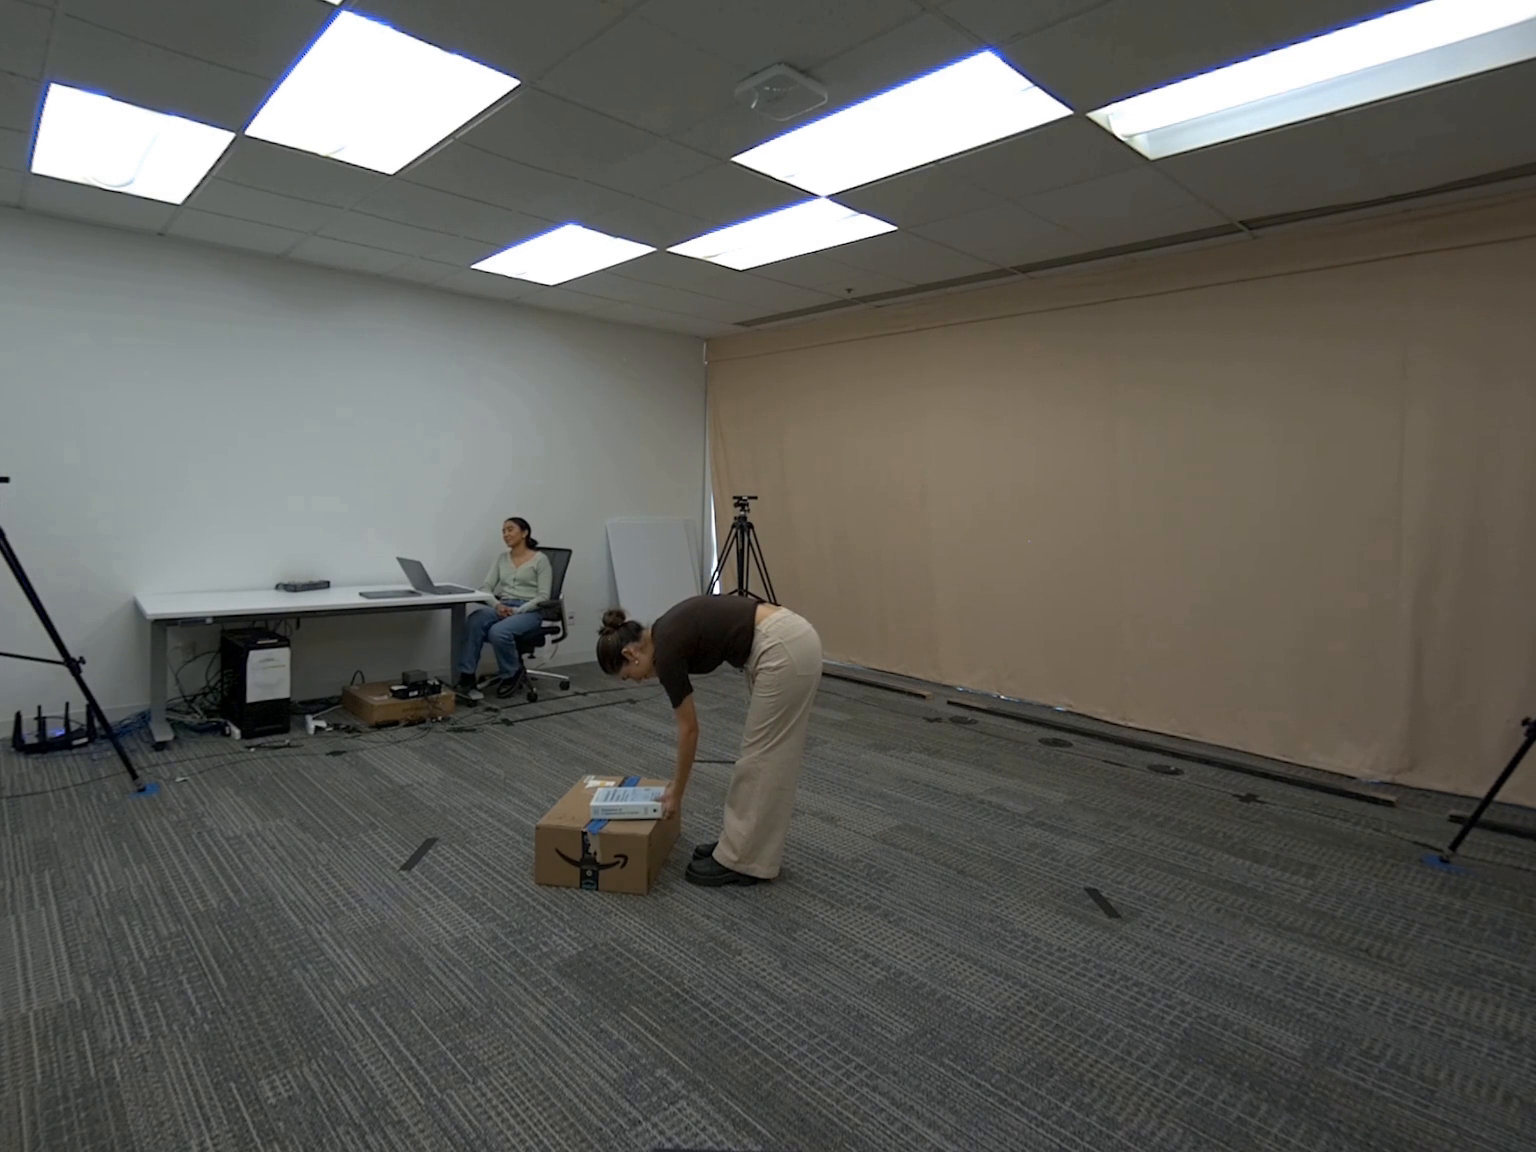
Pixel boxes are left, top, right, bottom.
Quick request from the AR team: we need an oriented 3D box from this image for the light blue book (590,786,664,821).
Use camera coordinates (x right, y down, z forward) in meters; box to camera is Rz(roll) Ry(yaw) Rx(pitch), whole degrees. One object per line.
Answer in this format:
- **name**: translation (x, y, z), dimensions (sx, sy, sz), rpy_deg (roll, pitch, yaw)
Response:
- **light blue book**: translation (-0.521, 0.840, 3.148), dimensions (0.261, 0.059, 0.192), rpy_deg (-1, 4, 0)
